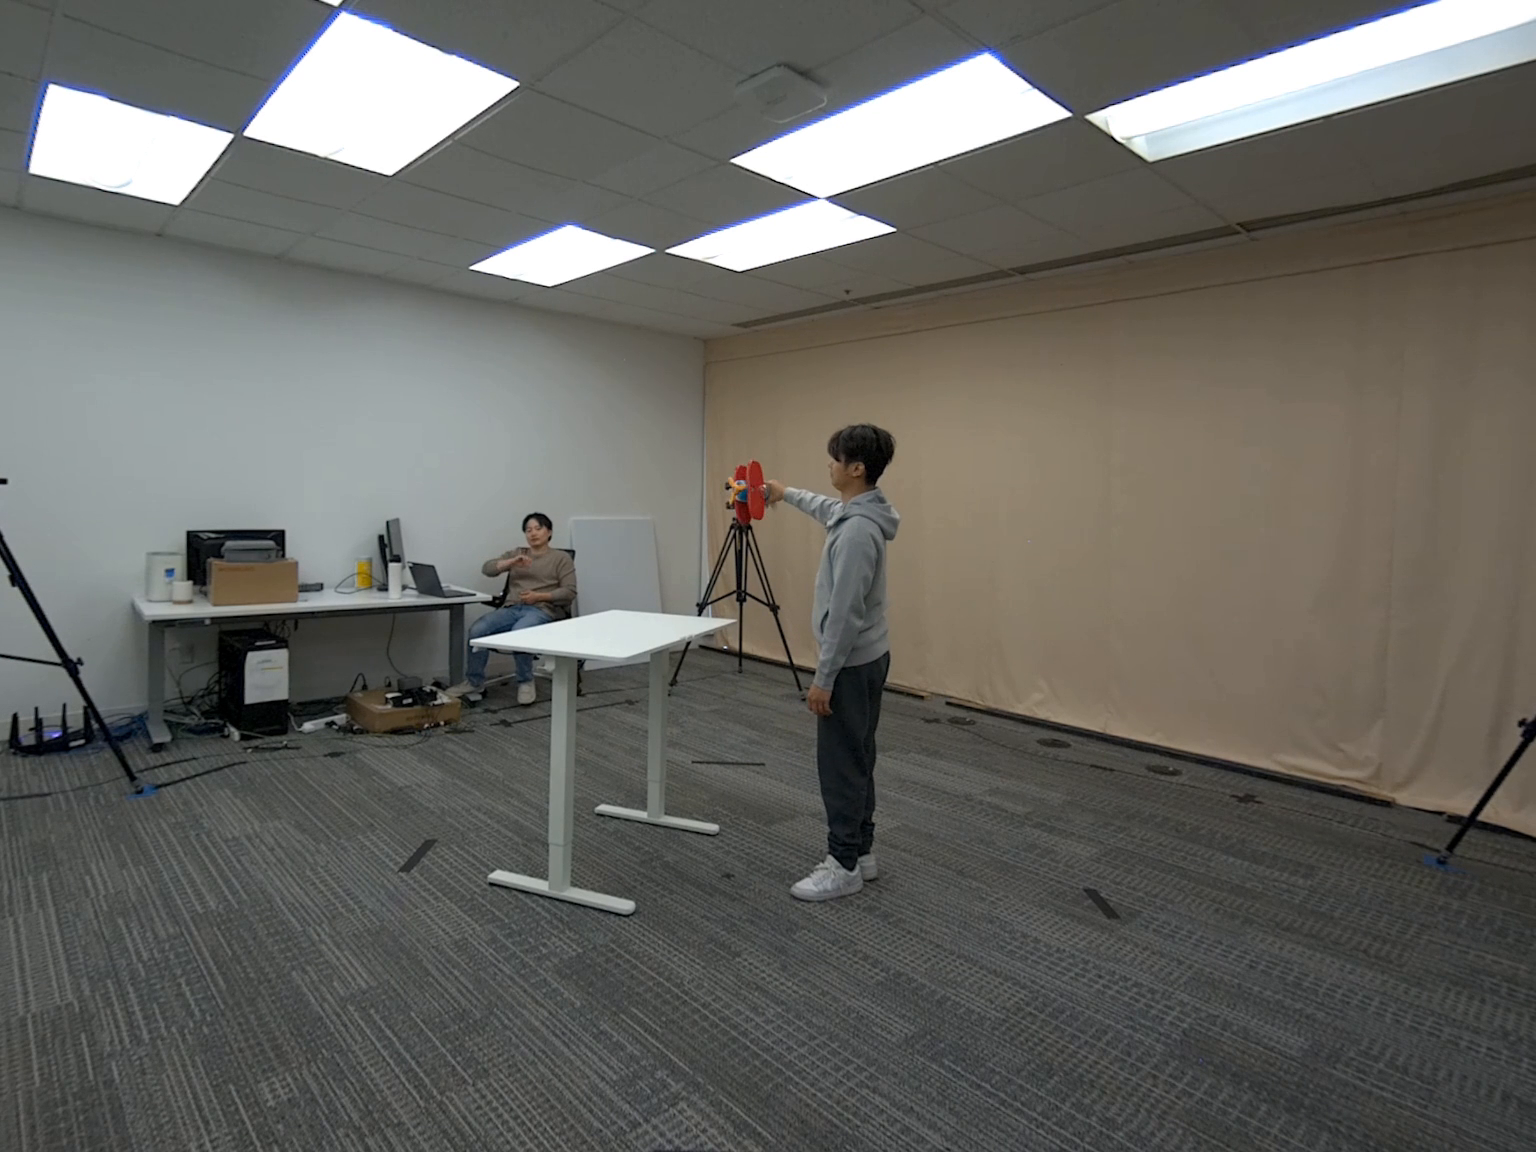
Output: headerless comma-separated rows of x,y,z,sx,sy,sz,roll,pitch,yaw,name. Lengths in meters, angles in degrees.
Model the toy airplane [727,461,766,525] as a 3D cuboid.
-0.063,-0.359,3.584,0.257,0.251,0.158,-28,2,-31,toy airplane
